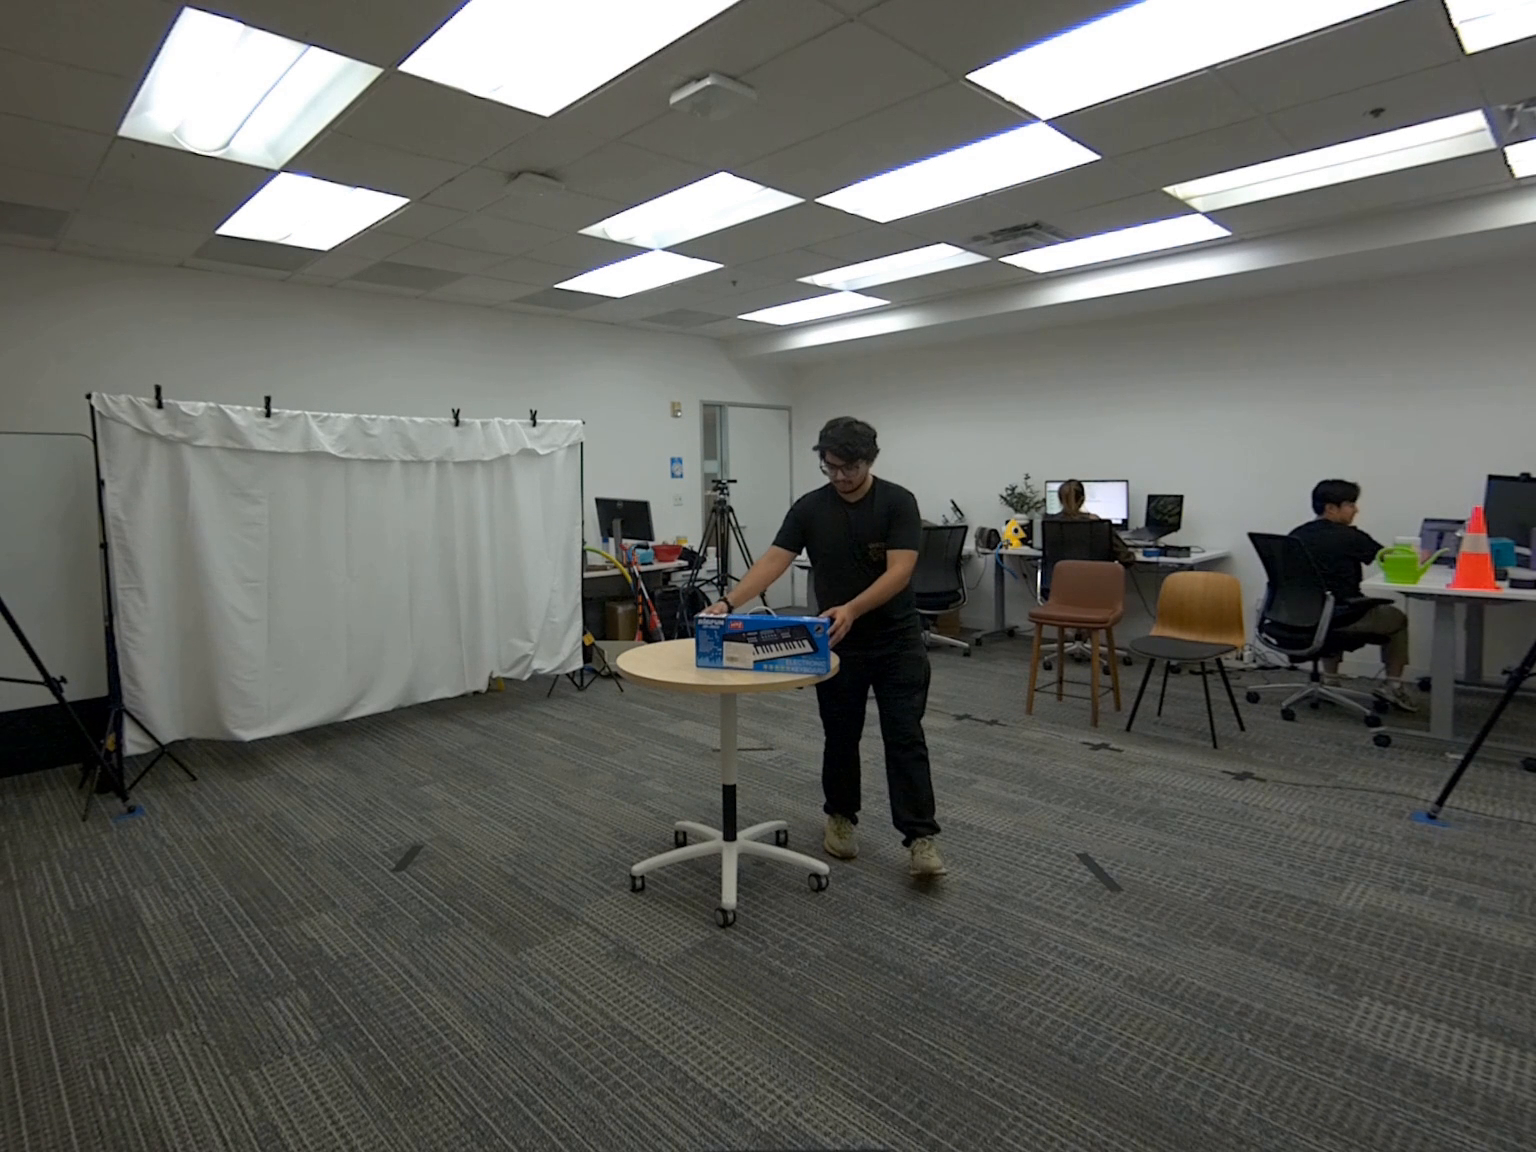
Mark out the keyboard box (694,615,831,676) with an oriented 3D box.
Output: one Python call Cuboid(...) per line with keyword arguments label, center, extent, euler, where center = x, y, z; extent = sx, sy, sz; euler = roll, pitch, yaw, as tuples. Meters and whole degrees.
Cuboid(label="keyboard box", center=(-0.018, 0.218, 2.755), extent=(0.444, 0.175, 0.058), euler=(1, 8, 17))
